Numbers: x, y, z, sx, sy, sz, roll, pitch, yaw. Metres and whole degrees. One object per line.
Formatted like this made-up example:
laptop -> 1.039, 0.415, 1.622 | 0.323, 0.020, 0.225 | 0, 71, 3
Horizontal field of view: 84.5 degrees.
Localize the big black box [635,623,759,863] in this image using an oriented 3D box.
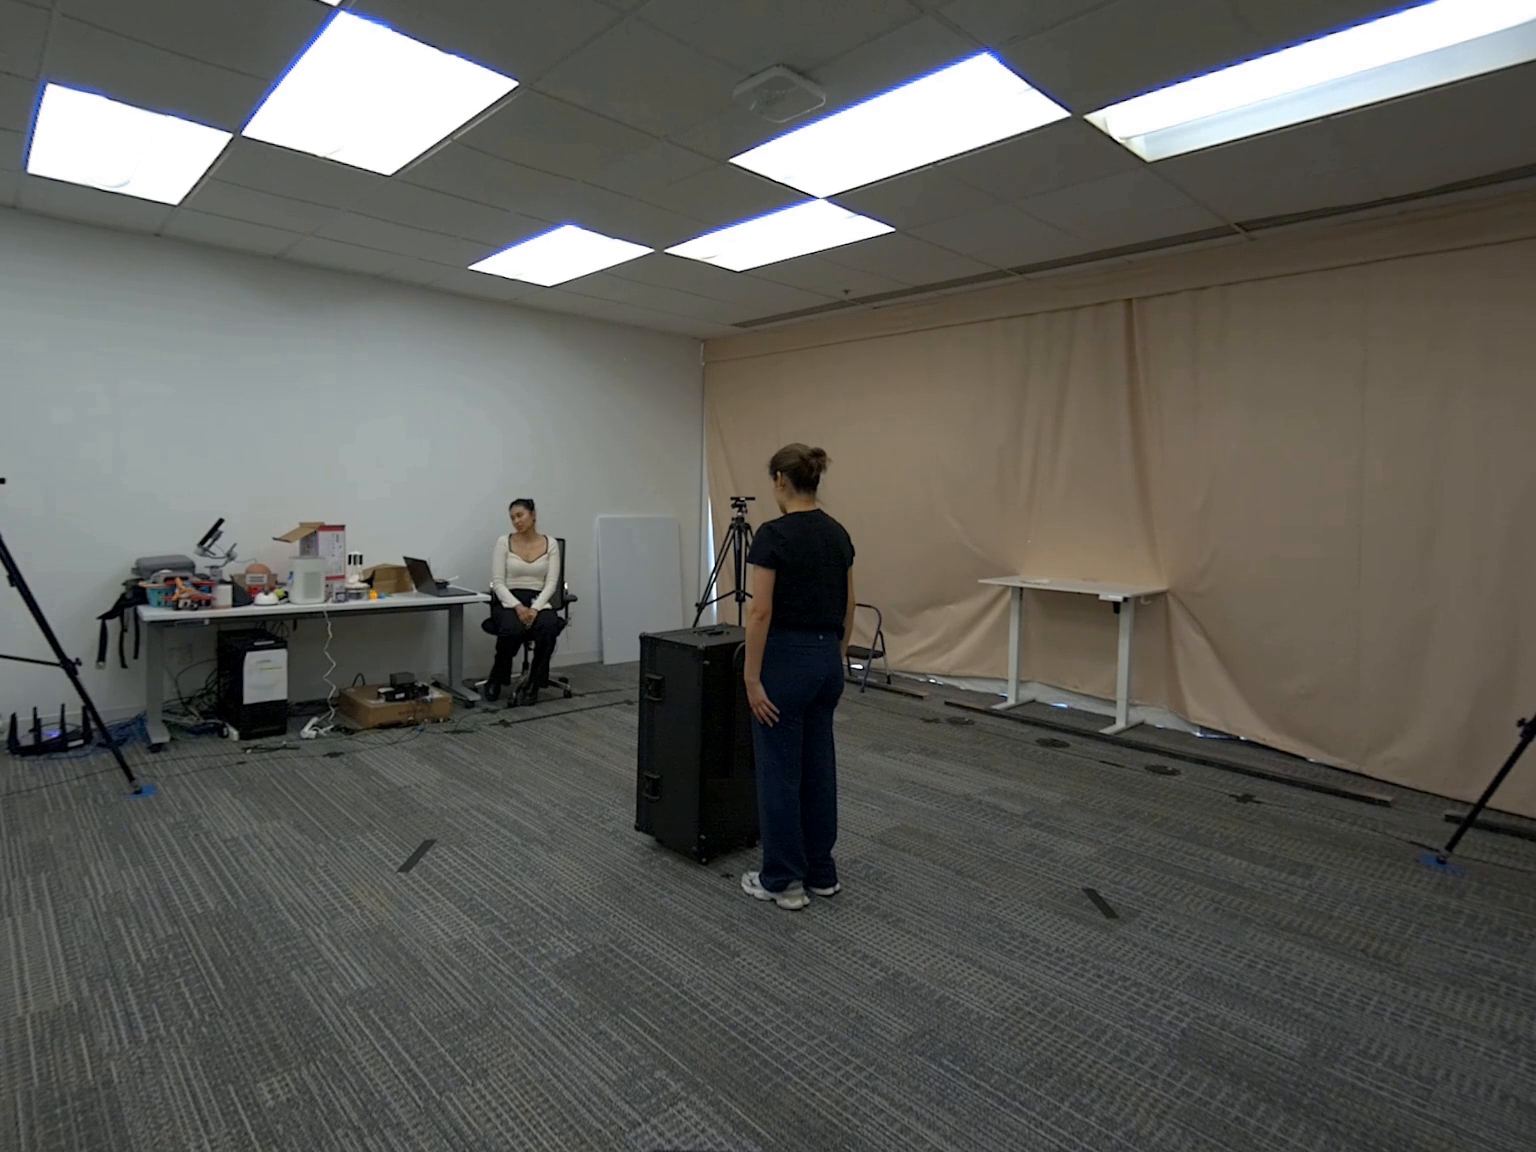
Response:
big black box -> -0.236, 0.656, 3.363 | 0.406, 0.859, 0.509 | 4, 5, 41
